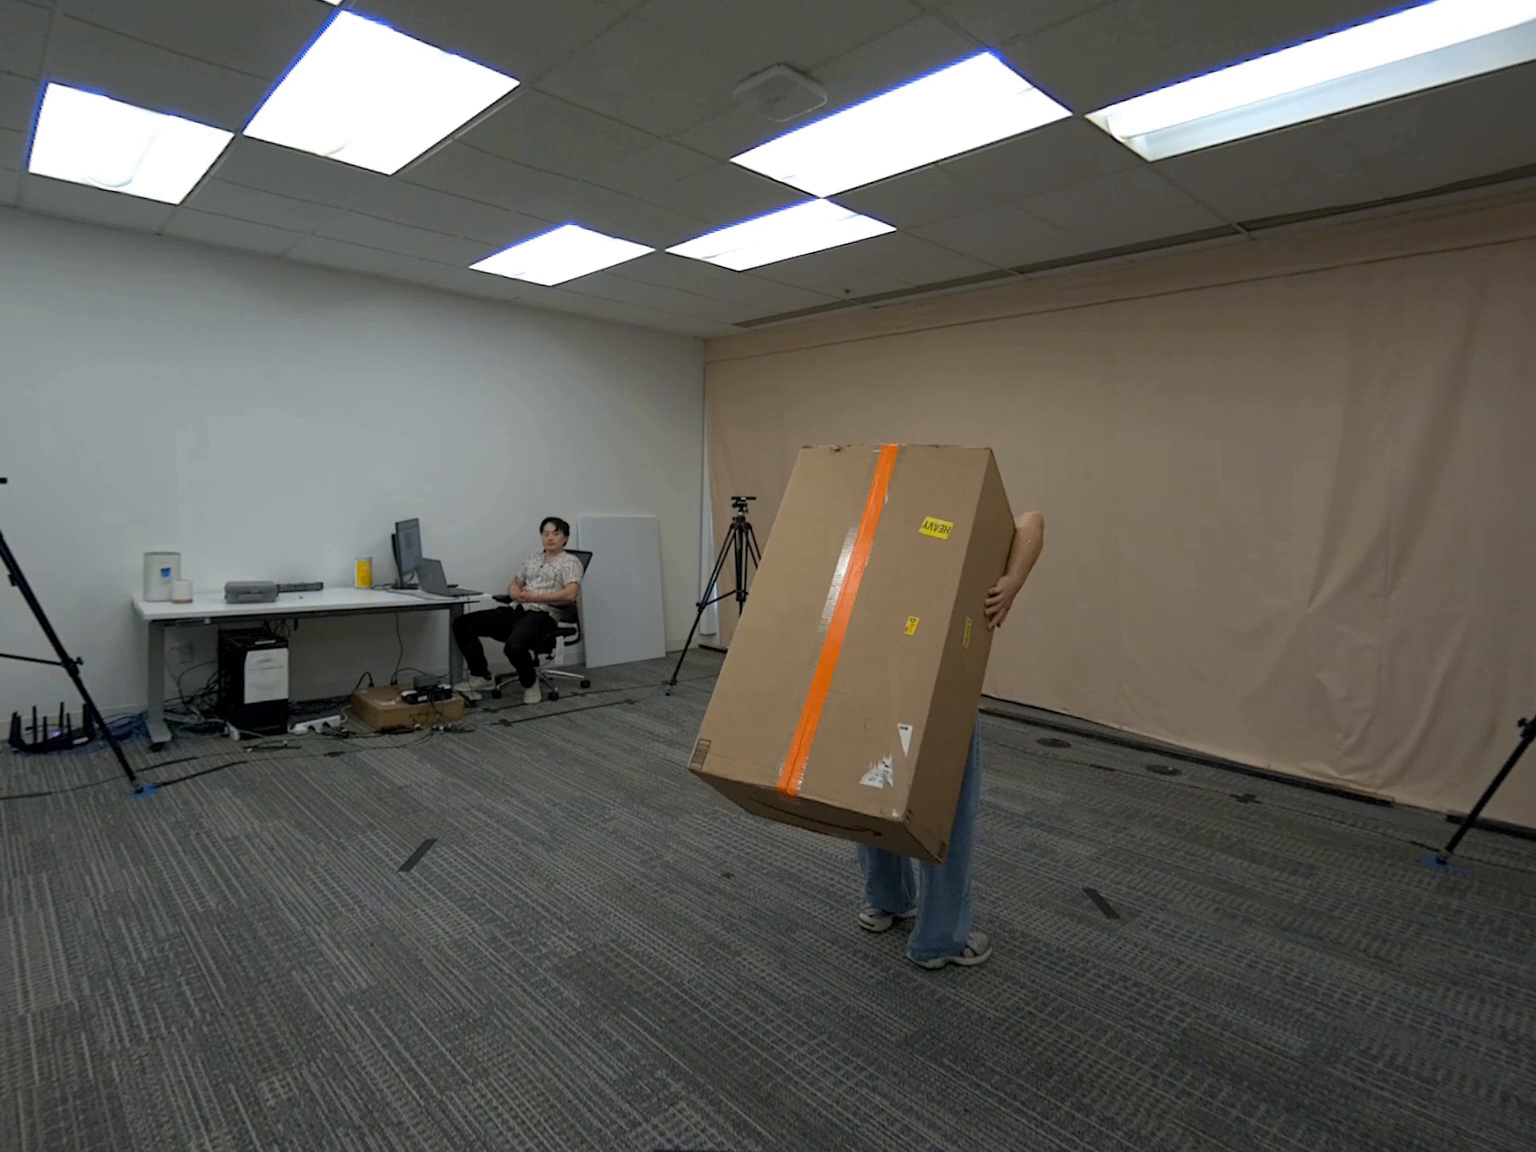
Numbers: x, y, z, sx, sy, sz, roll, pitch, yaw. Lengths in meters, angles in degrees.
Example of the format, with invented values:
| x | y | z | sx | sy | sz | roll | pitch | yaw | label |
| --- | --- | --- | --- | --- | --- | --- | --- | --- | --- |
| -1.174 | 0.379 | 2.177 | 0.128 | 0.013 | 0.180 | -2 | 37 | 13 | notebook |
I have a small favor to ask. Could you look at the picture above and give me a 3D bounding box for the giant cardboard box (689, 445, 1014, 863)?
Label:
| x | y | z | sx | sy | sz | roll | pitch | yaw | label |
| --- | --- | --- | --- | --- | --- | --- | --- | --- | --- |
| 0.270 | 0.170 | 2.344 | 0.590 | 1.035 | 0.413 | 5 | -28 | 29 | giant cardboard box |
